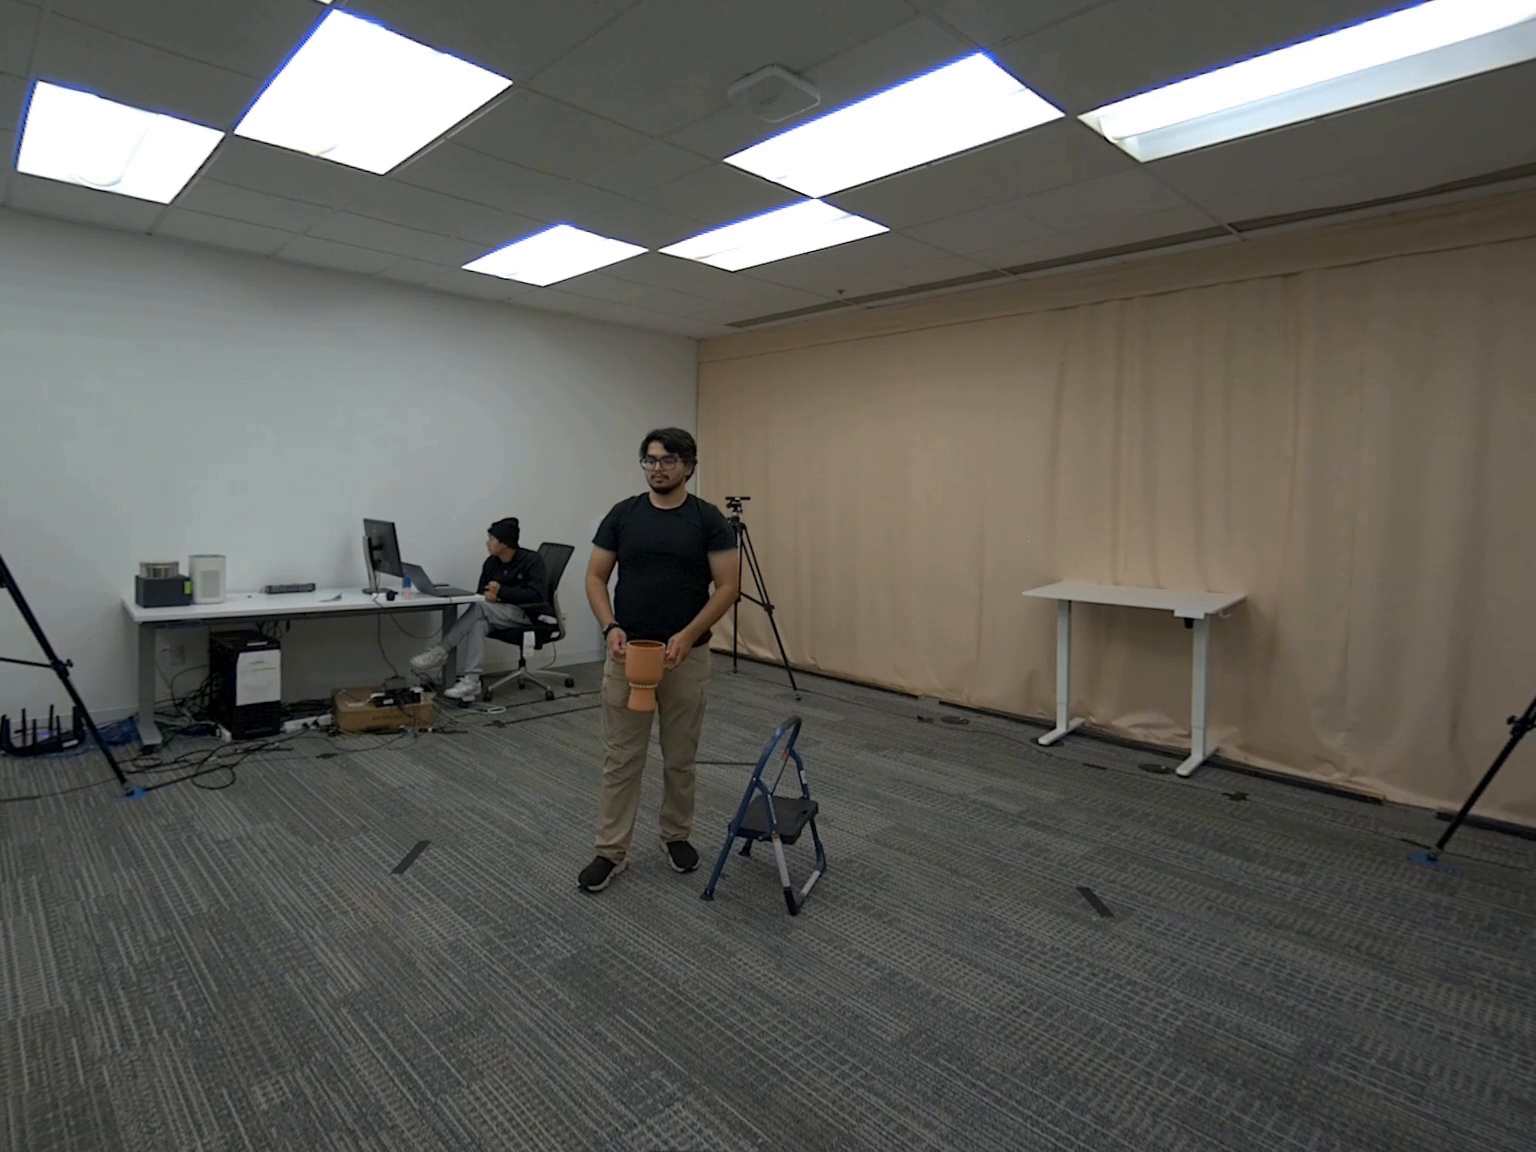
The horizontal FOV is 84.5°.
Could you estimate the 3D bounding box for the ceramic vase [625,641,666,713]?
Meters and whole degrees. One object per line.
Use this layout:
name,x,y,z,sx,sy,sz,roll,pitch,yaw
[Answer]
ceramic vase,-0.439,0.341,2.874,0.163,0.219,0.131,8,5,40
